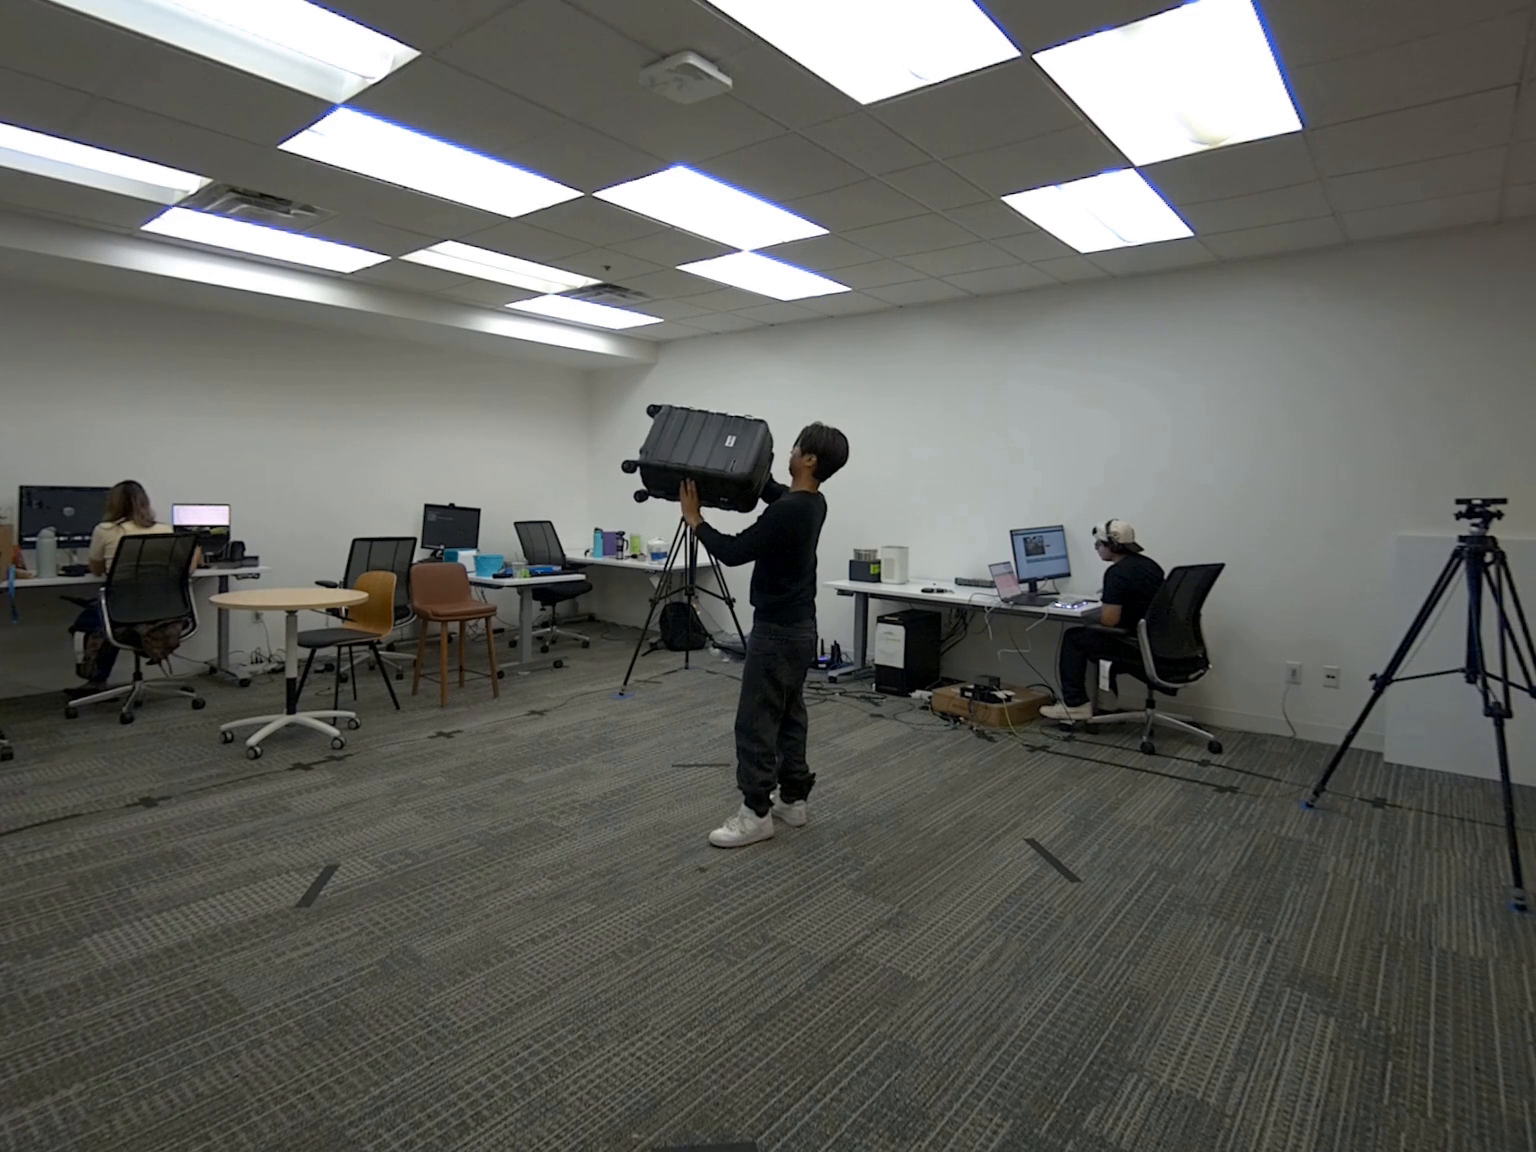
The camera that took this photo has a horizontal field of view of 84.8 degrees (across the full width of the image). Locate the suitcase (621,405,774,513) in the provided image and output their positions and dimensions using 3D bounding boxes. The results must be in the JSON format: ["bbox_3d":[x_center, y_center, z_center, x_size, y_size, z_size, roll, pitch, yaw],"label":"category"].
[{"bbox_3d":[-0.274,-0.488,3.500,0.561,0.380,0.240,10,-29,18],"label":"suitcase"}]
